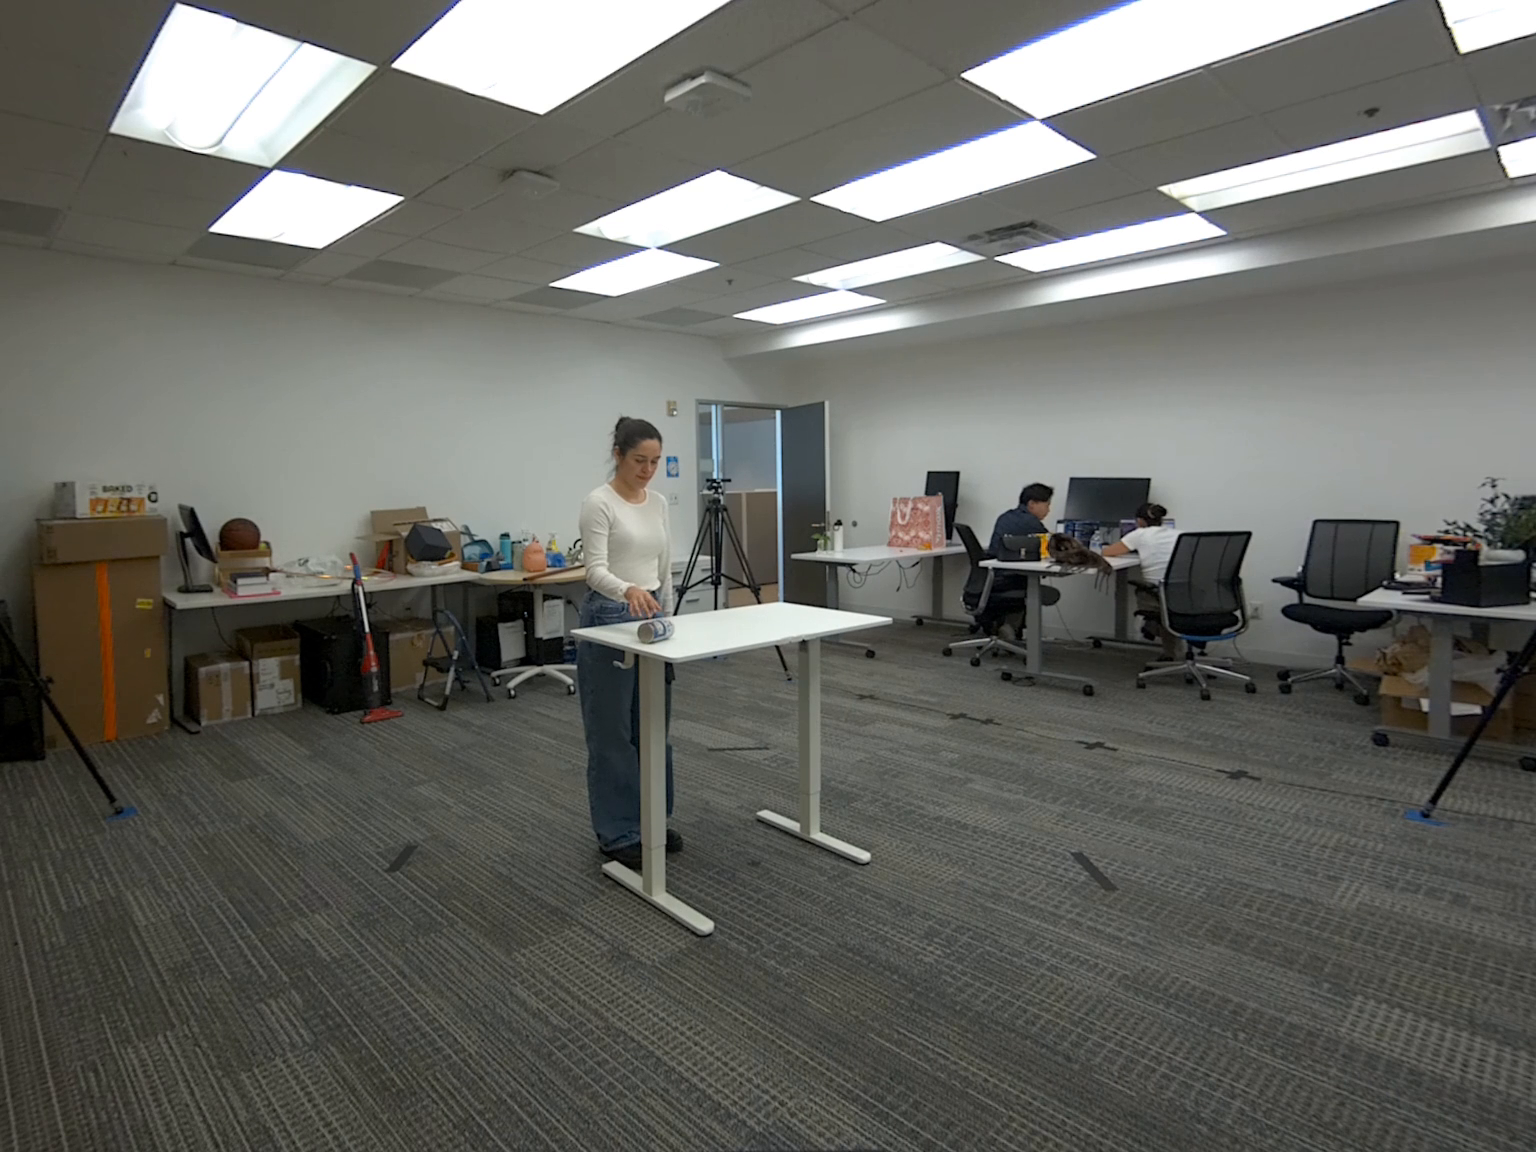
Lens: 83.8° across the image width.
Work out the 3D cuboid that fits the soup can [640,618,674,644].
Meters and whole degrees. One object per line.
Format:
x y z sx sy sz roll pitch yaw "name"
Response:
-0.338 0.170 2.744 0.067 0.067 0.121 0 6 5 "soup can"
